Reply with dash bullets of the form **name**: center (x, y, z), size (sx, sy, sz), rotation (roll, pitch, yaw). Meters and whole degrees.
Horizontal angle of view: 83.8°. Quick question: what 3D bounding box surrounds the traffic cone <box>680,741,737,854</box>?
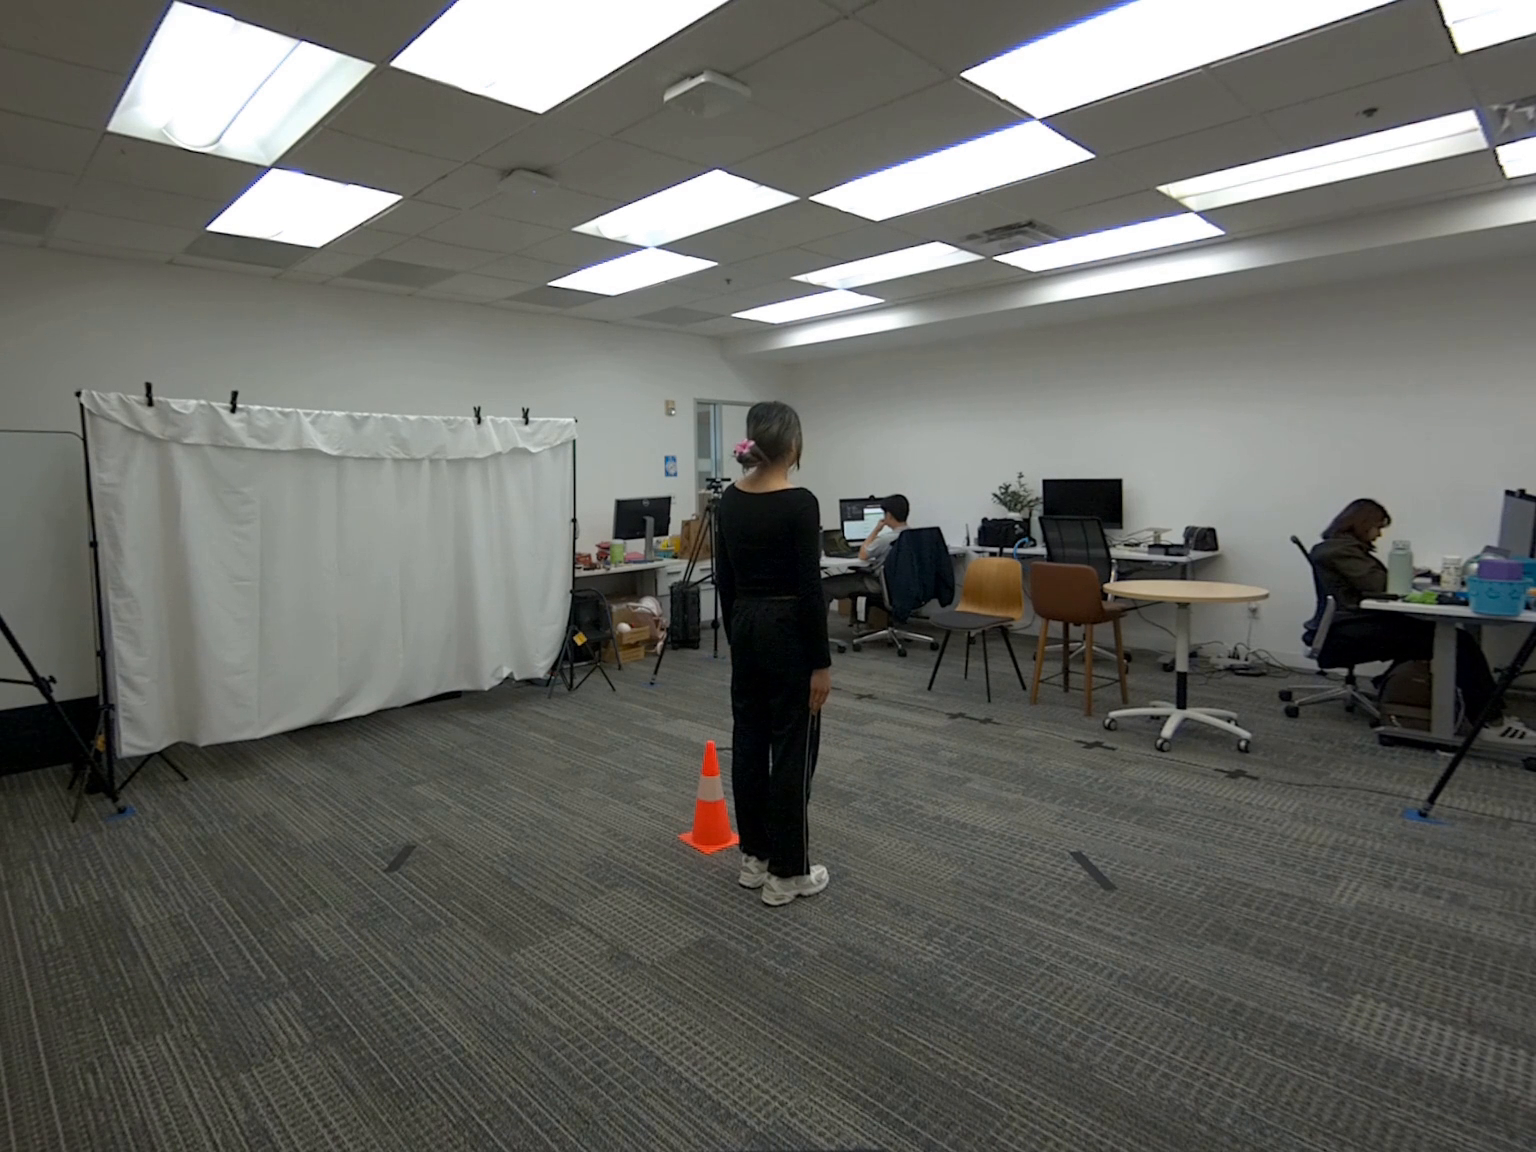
- **traffic cone**: center (-0.214, 0.836, 3.311), size (0.200, 0.382, 0.209), rotation (-2, 4, -35)
